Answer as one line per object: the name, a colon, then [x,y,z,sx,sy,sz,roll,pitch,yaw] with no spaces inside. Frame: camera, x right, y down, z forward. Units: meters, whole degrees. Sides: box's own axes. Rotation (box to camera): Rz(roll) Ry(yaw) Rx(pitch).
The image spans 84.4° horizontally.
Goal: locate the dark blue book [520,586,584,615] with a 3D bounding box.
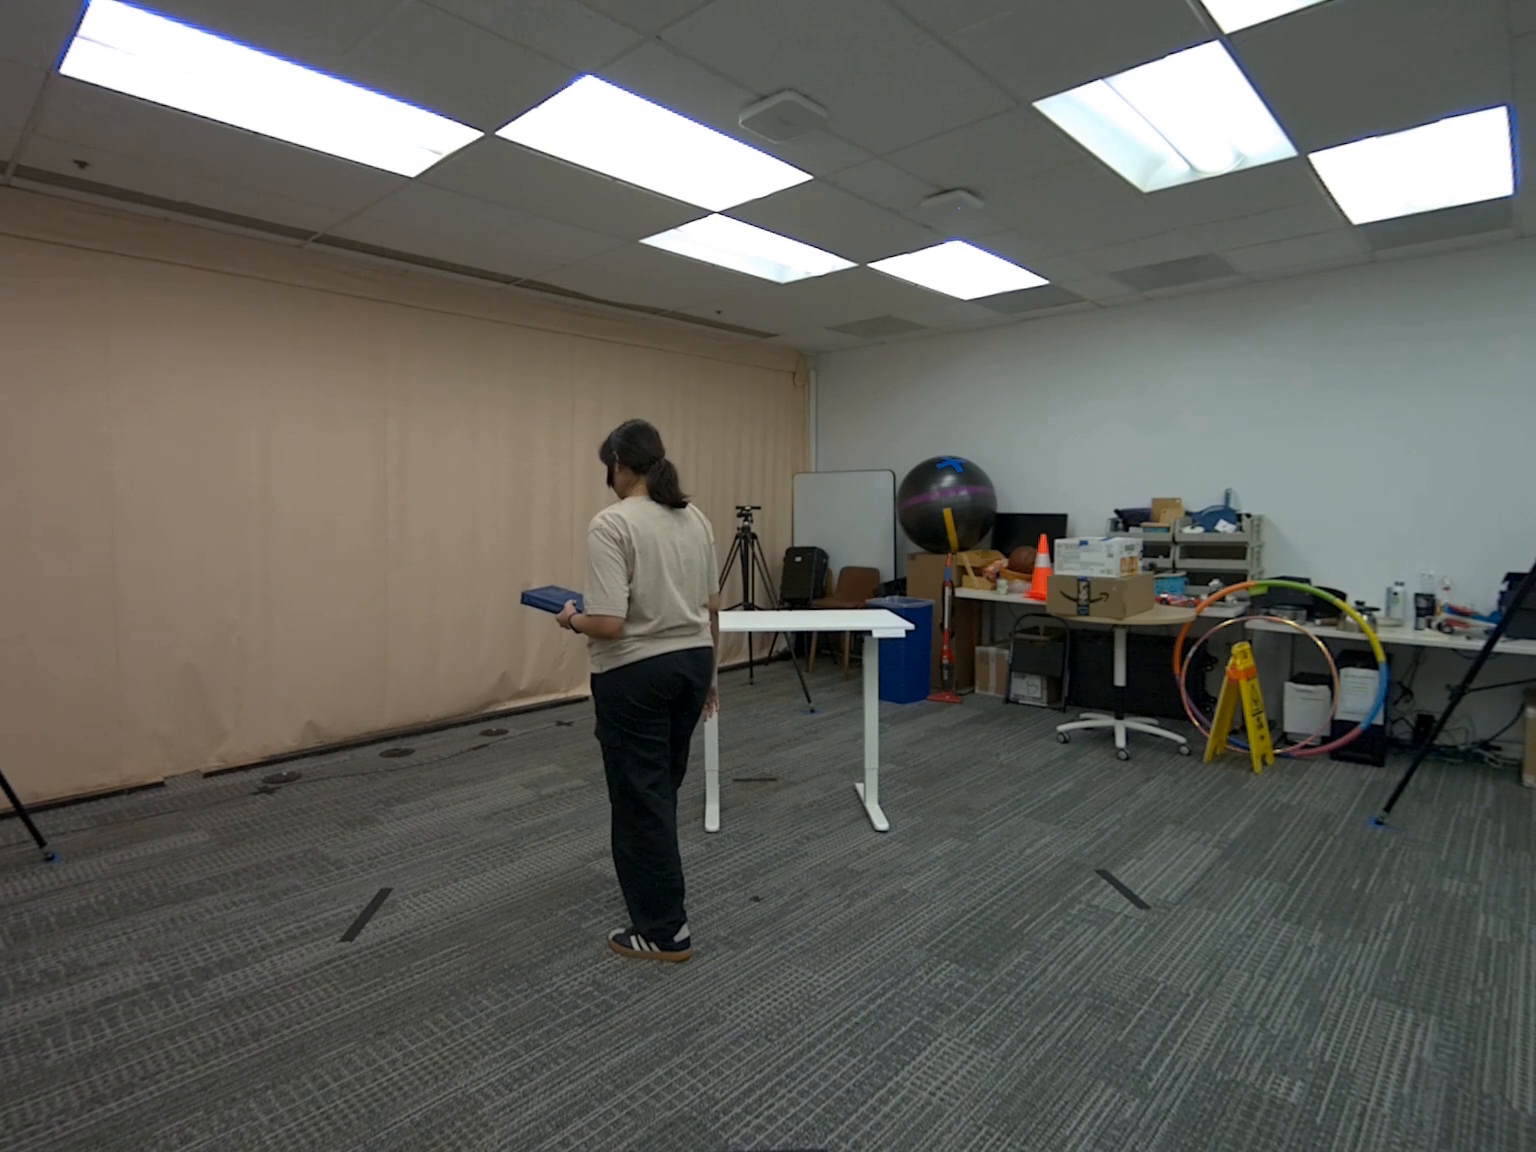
dark blue book: [-0.669,0.096,2.737,0.252,0.045,0.160,14,13,24]
